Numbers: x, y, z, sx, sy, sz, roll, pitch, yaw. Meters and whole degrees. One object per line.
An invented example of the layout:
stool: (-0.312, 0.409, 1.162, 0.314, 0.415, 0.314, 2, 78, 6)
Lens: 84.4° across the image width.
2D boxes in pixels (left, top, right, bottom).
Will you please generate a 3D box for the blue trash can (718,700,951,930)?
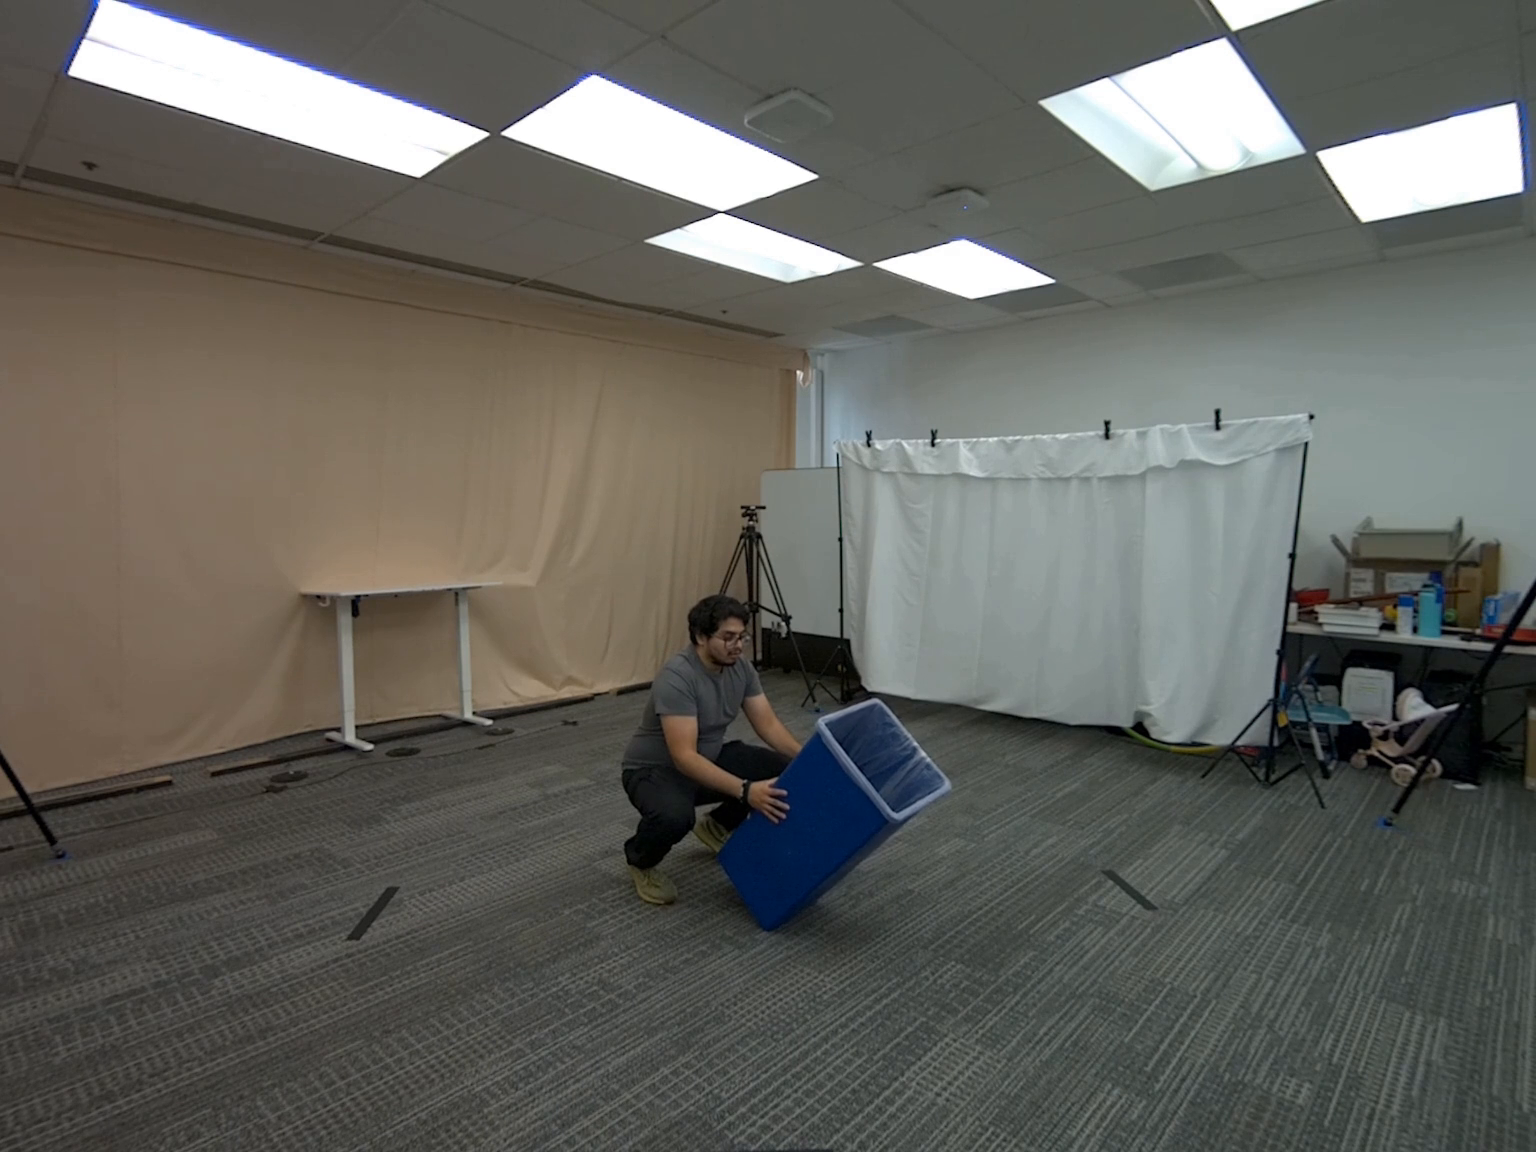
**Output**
blue trash can: (0.185, 0.799, 2.743, 0.363, 0.715, 0.388, -5, 49, -50)
